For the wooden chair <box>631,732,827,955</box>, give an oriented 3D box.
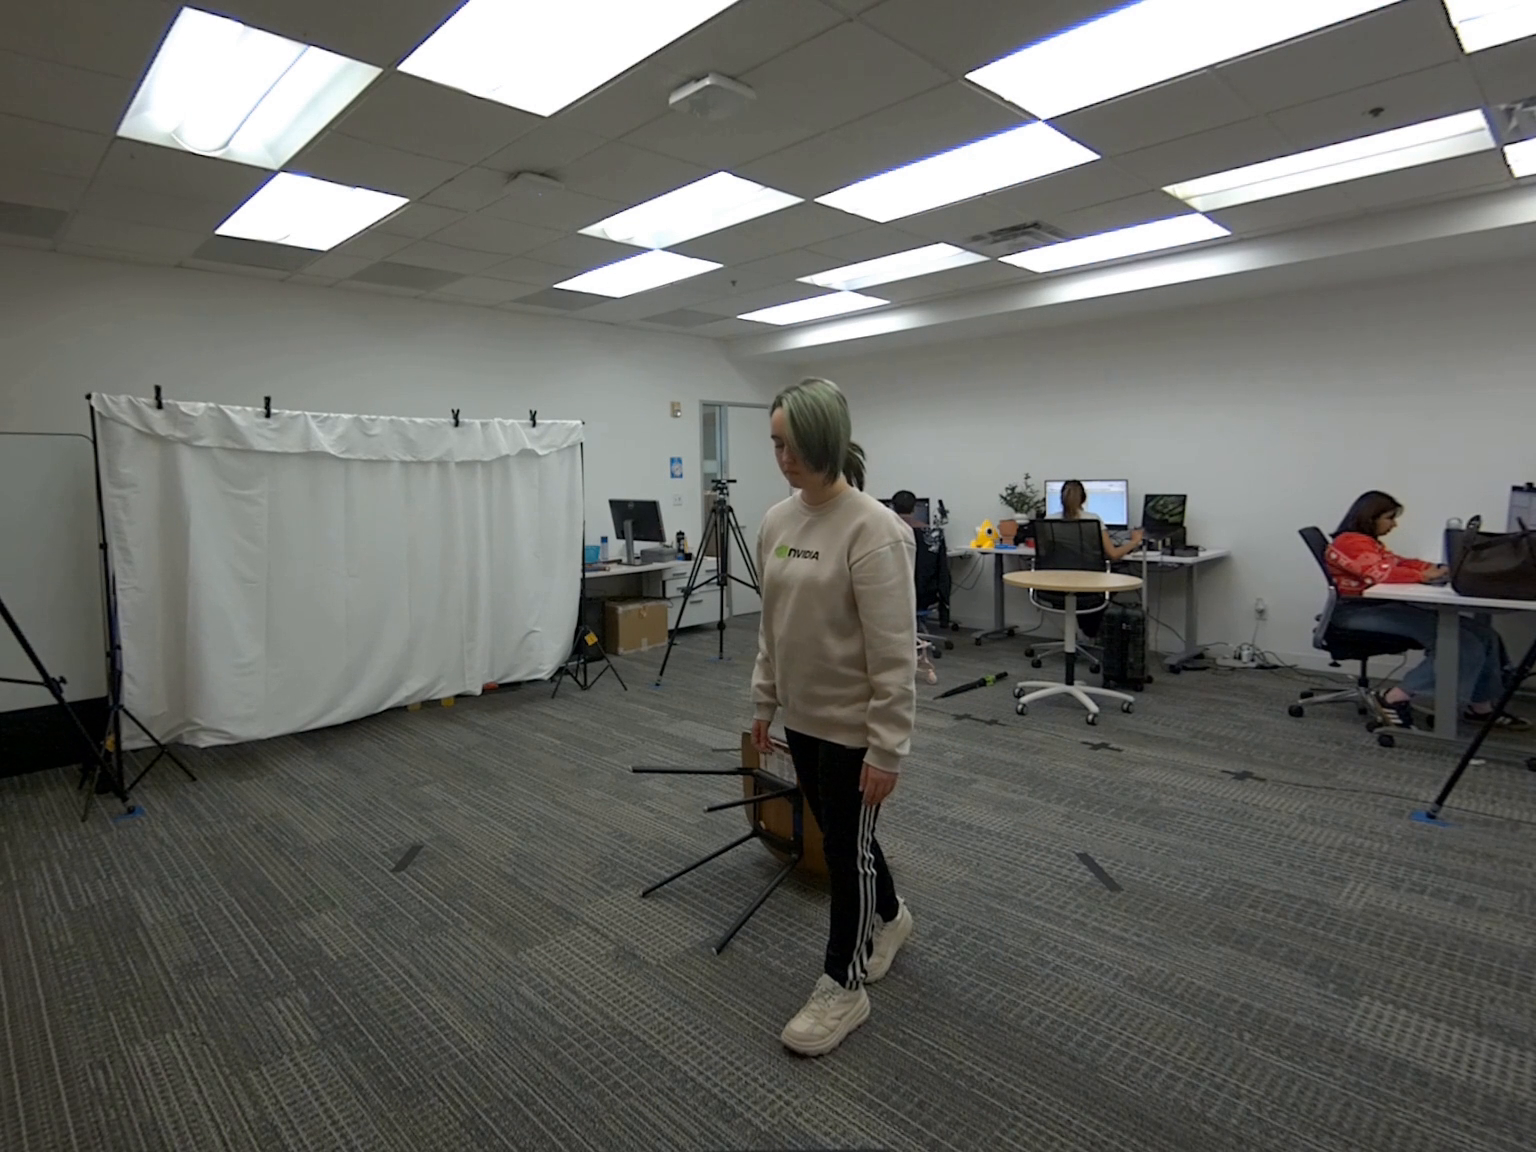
[{"bbox_3d":[0.026,0.810,2.917,0.854,0.521,0.492,-4,6,-37],"label":"wooden chair"}]
